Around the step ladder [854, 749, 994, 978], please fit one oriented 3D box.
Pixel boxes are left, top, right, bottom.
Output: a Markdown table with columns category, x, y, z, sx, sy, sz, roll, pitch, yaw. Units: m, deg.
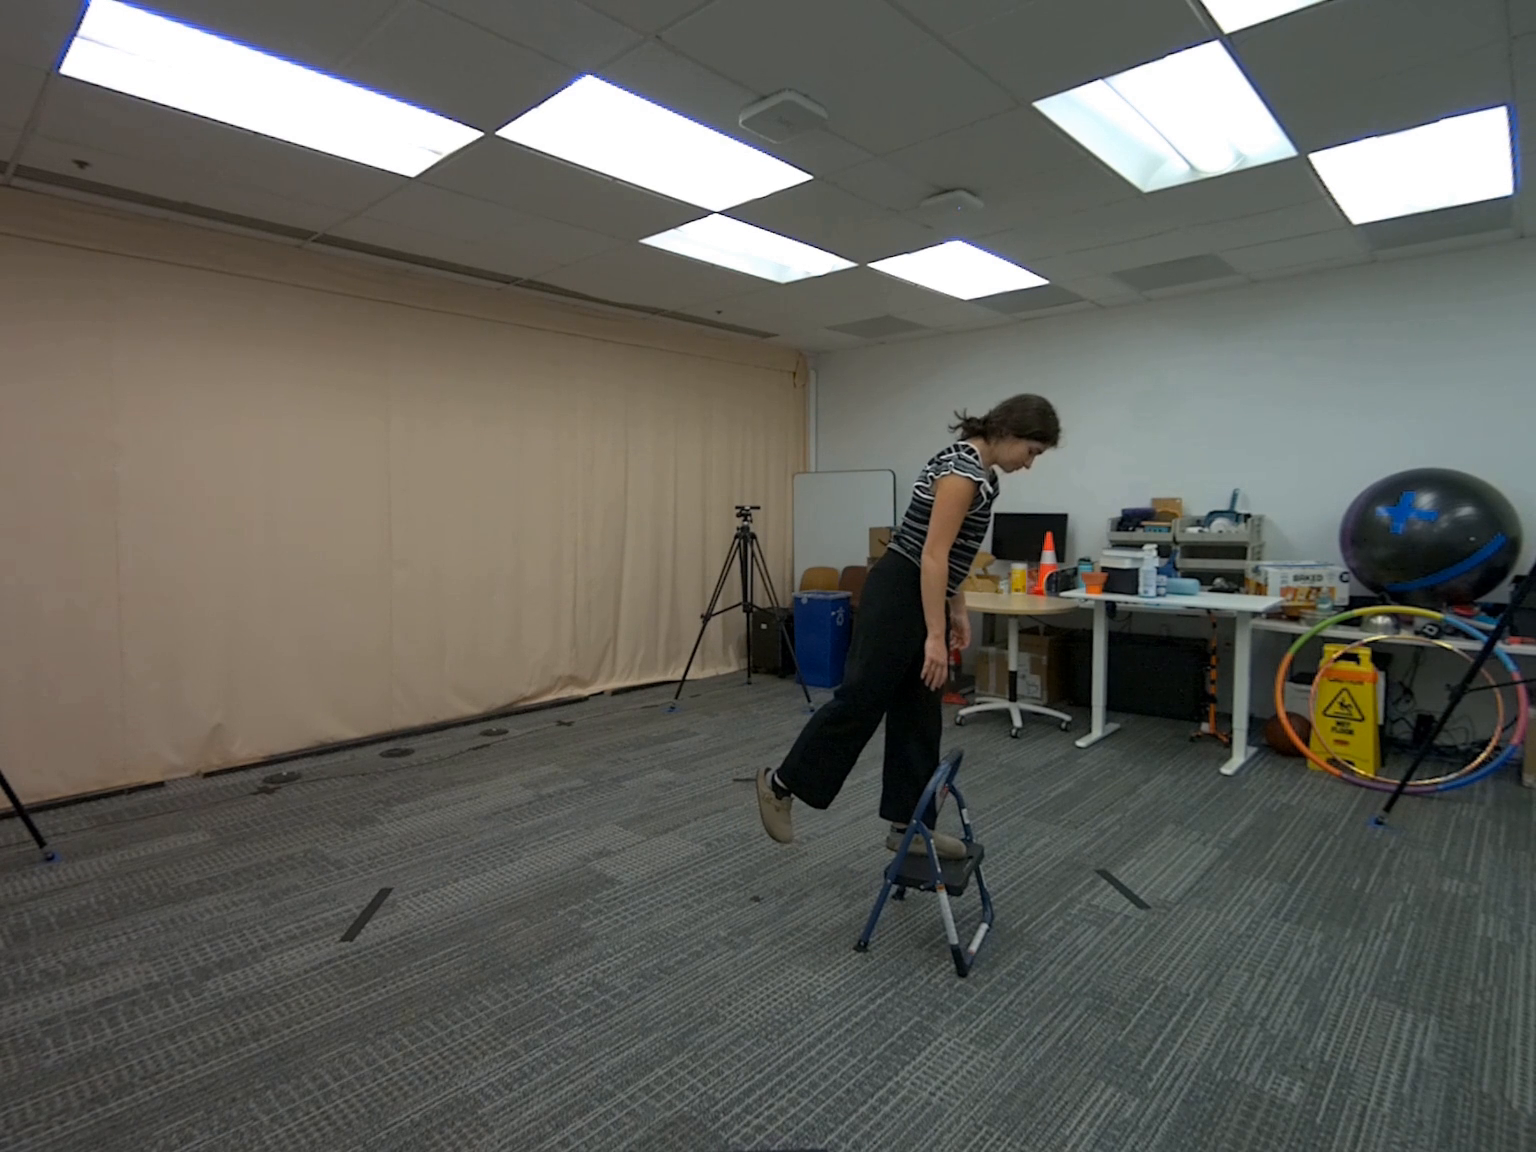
| category | x | y | z | sx | sy | sz | roll | pitch | yaw |
| --- | --- | --- | --- | --- | --- | --- | --- | --- | --- |
| step ladder | 0.522 | 0.864 | 2.718 | 0.359 | 0.604 | 0.420 | 2 | 4 | 27 |
